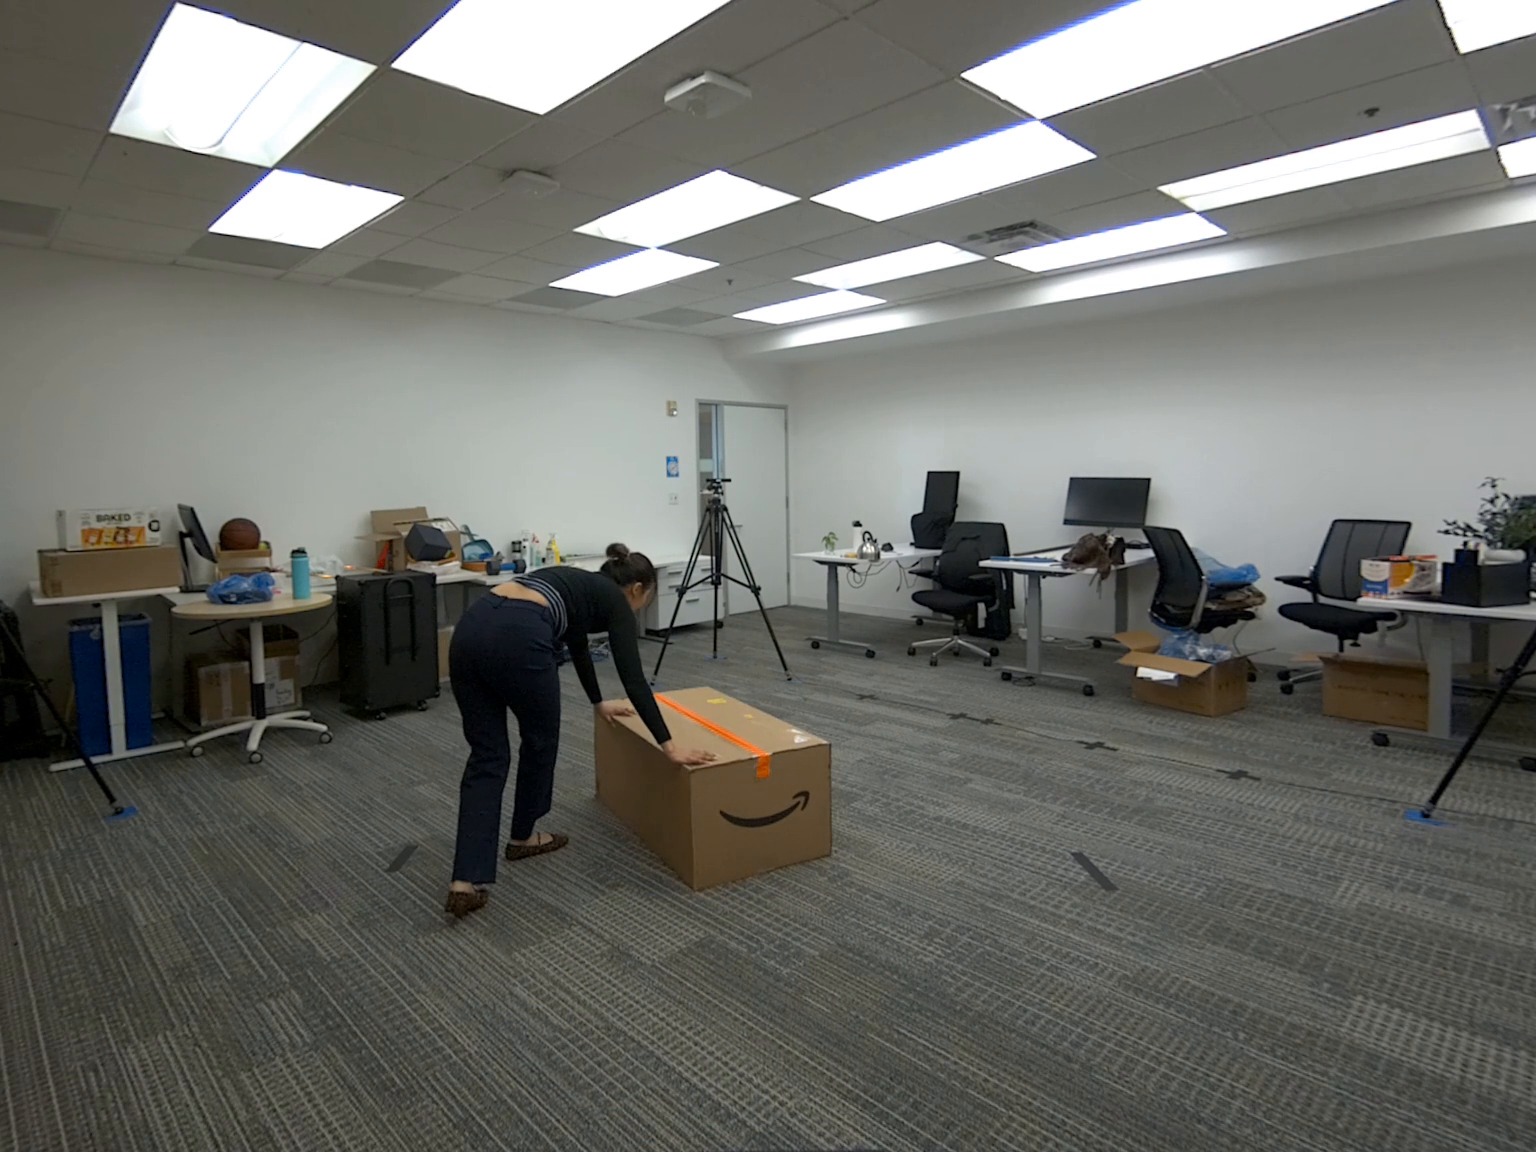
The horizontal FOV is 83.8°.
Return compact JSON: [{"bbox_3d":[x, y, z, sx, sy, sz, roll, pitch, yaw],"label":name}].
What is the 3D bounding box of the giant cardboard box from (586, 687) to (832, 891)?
[{"bbox_3d":[-0.263,0.794,3.471,0.565,0.424,1.054,-5,7,-29],"label":"giant cardboard box"}]
